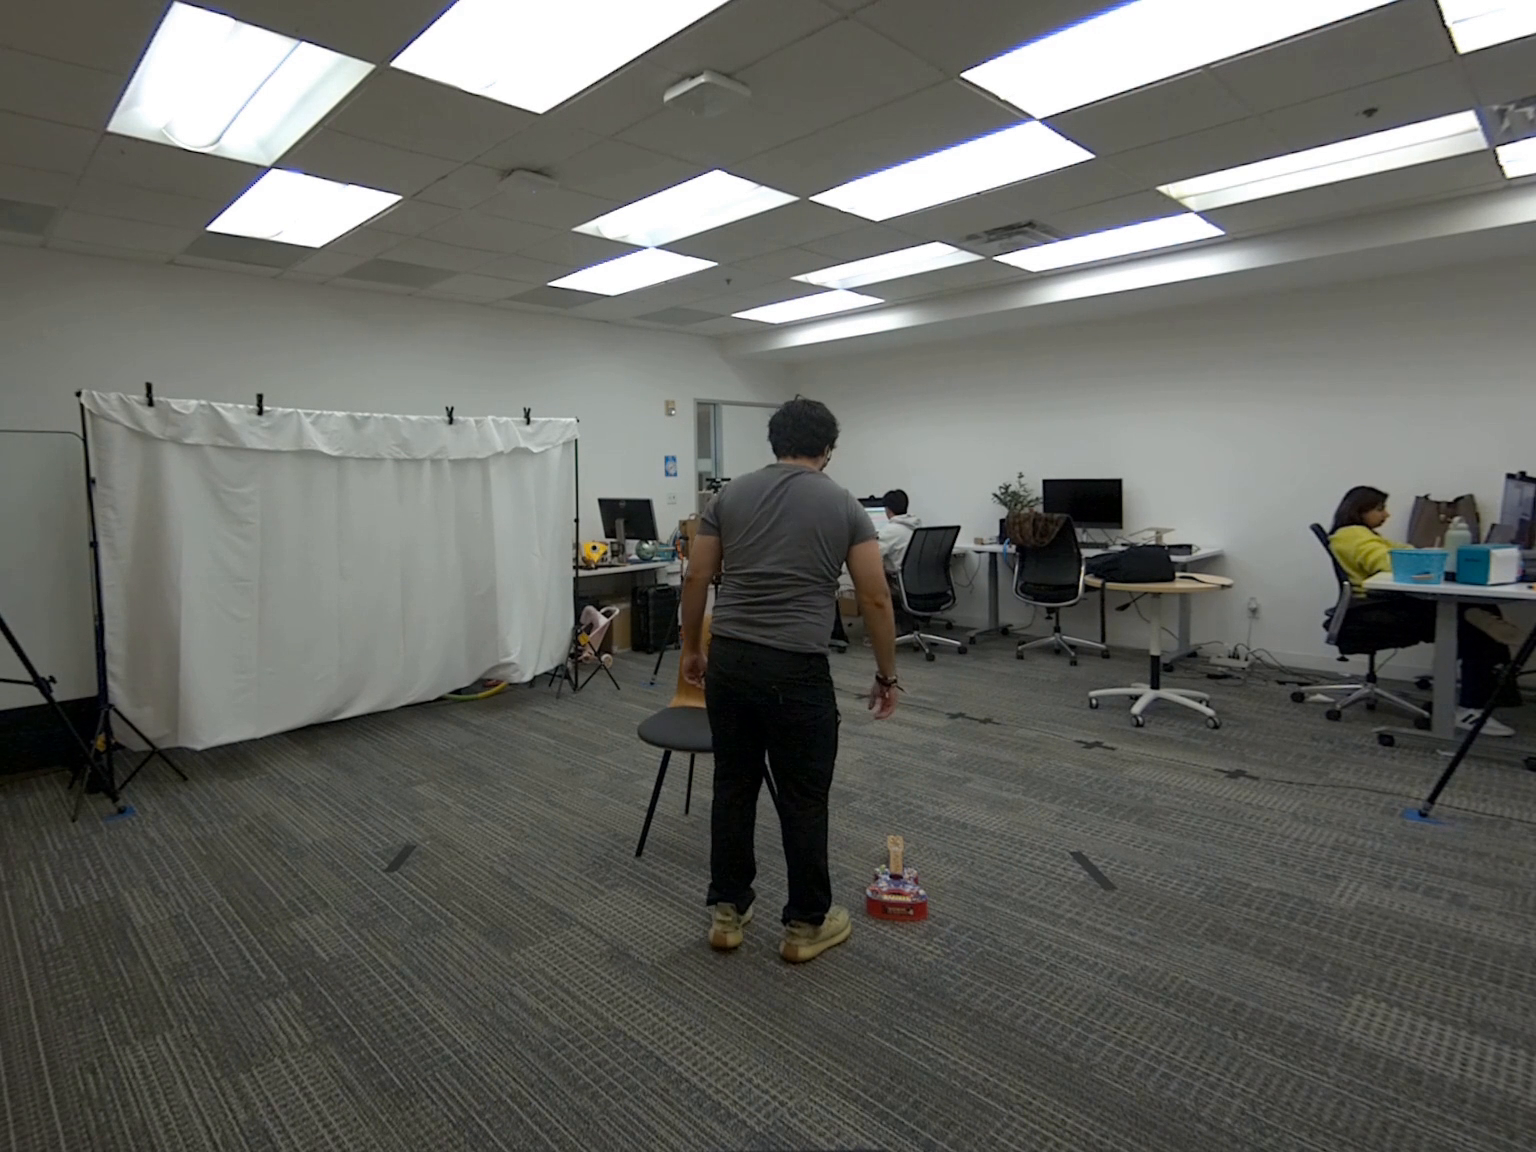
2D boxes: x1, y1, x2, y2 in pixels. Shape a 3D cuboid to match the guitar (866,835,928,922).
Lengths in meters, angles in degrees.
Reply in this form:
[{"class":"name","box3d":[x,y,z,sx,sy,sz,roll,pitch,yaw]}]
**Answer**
[{"class":"guitar","box3d":[0.469,1.023,2.912,0.196,0.070,0.492,1,7,17]}]
